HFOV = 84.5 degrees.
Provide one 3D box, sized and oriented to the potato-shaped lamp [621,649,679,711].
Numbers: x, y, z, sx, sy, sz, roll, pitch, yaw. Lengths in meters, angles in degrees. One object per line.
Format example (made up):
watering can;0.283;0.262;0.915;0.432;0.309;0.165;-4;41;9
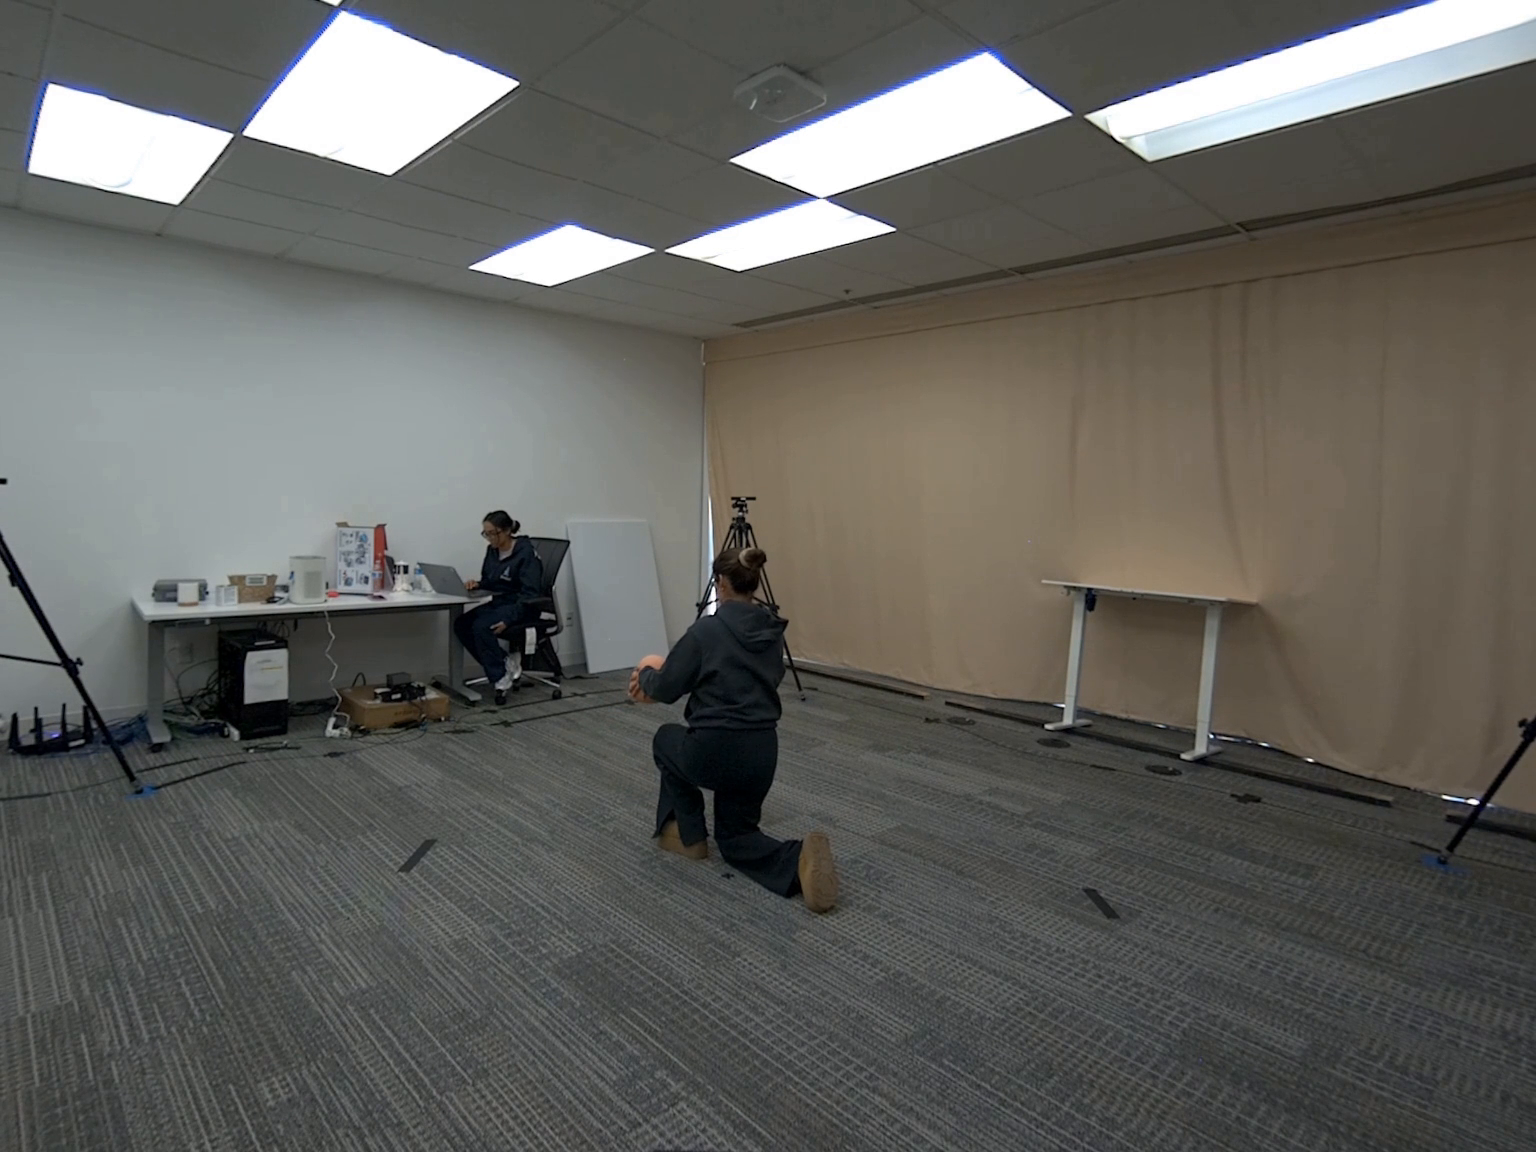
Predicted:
potato-shaped lamp;-0.489;0.429;3.538;0.161;0.197;0.176;0;9;-45
